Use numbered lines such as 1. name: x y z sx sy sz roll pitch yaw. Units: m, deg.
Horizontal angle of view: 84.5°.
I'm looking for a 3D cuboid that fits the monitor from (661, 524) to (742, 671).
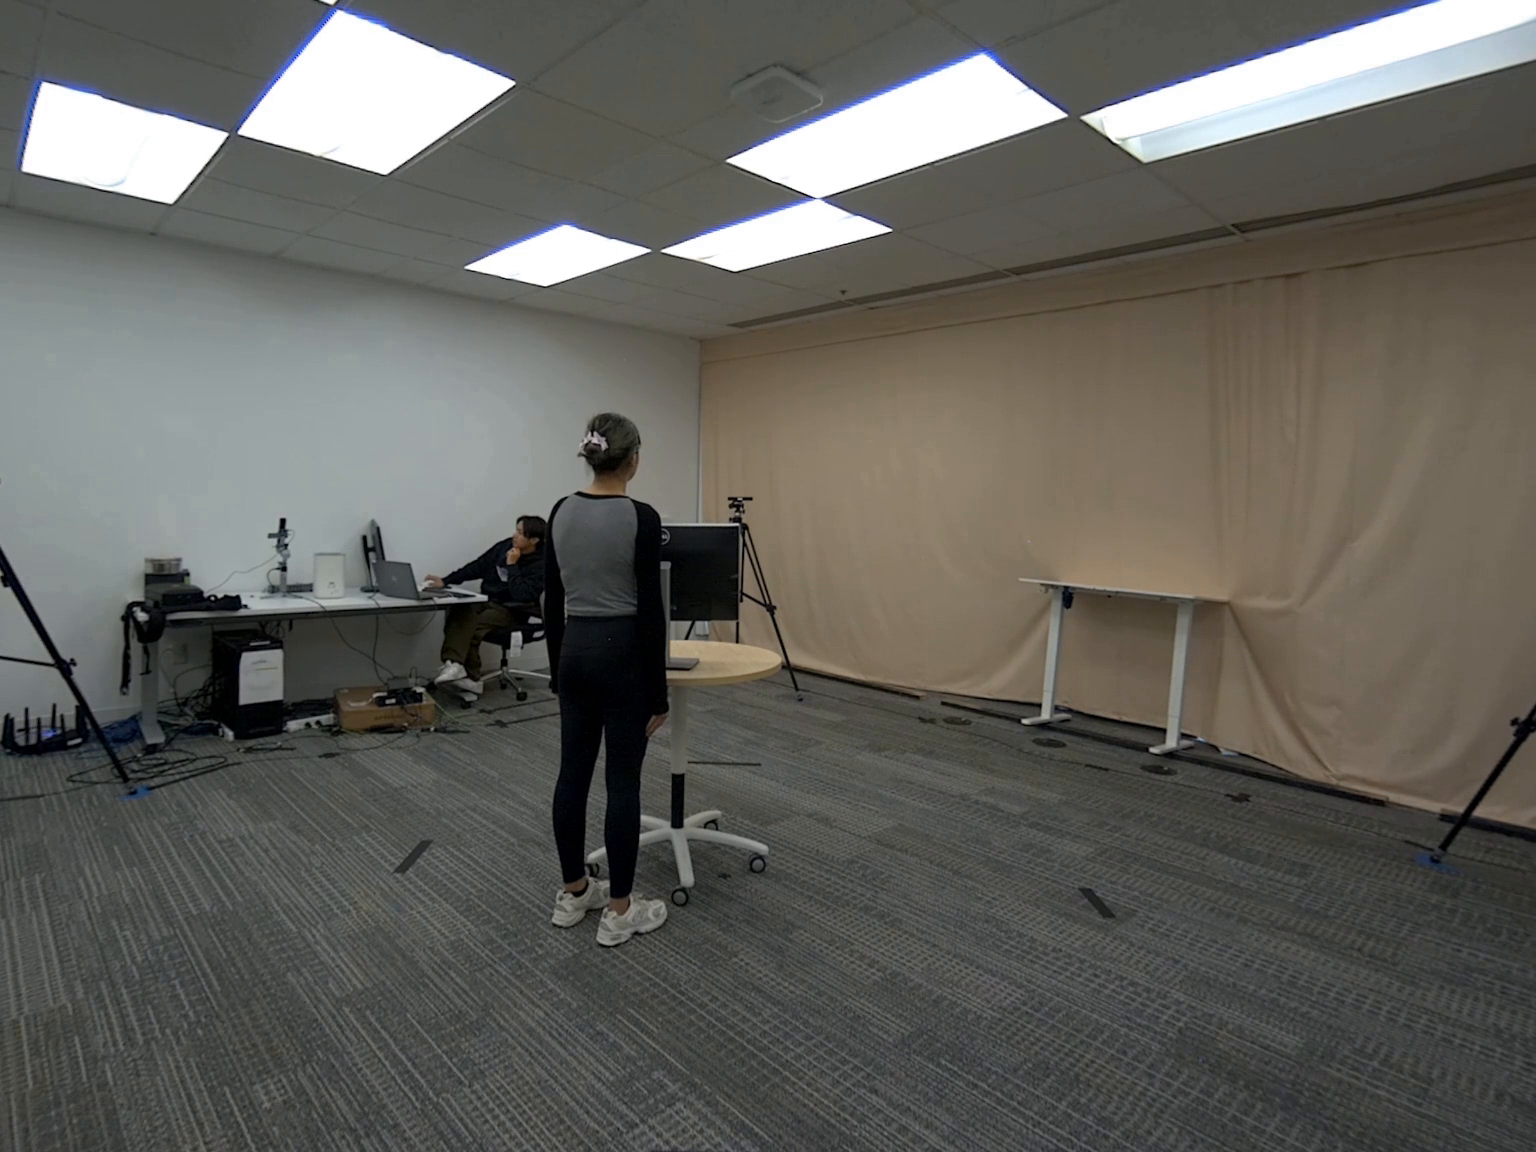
1. monitor: -0.381 0.071 3.007 0.538 0.522 0.187 0 1 -2
